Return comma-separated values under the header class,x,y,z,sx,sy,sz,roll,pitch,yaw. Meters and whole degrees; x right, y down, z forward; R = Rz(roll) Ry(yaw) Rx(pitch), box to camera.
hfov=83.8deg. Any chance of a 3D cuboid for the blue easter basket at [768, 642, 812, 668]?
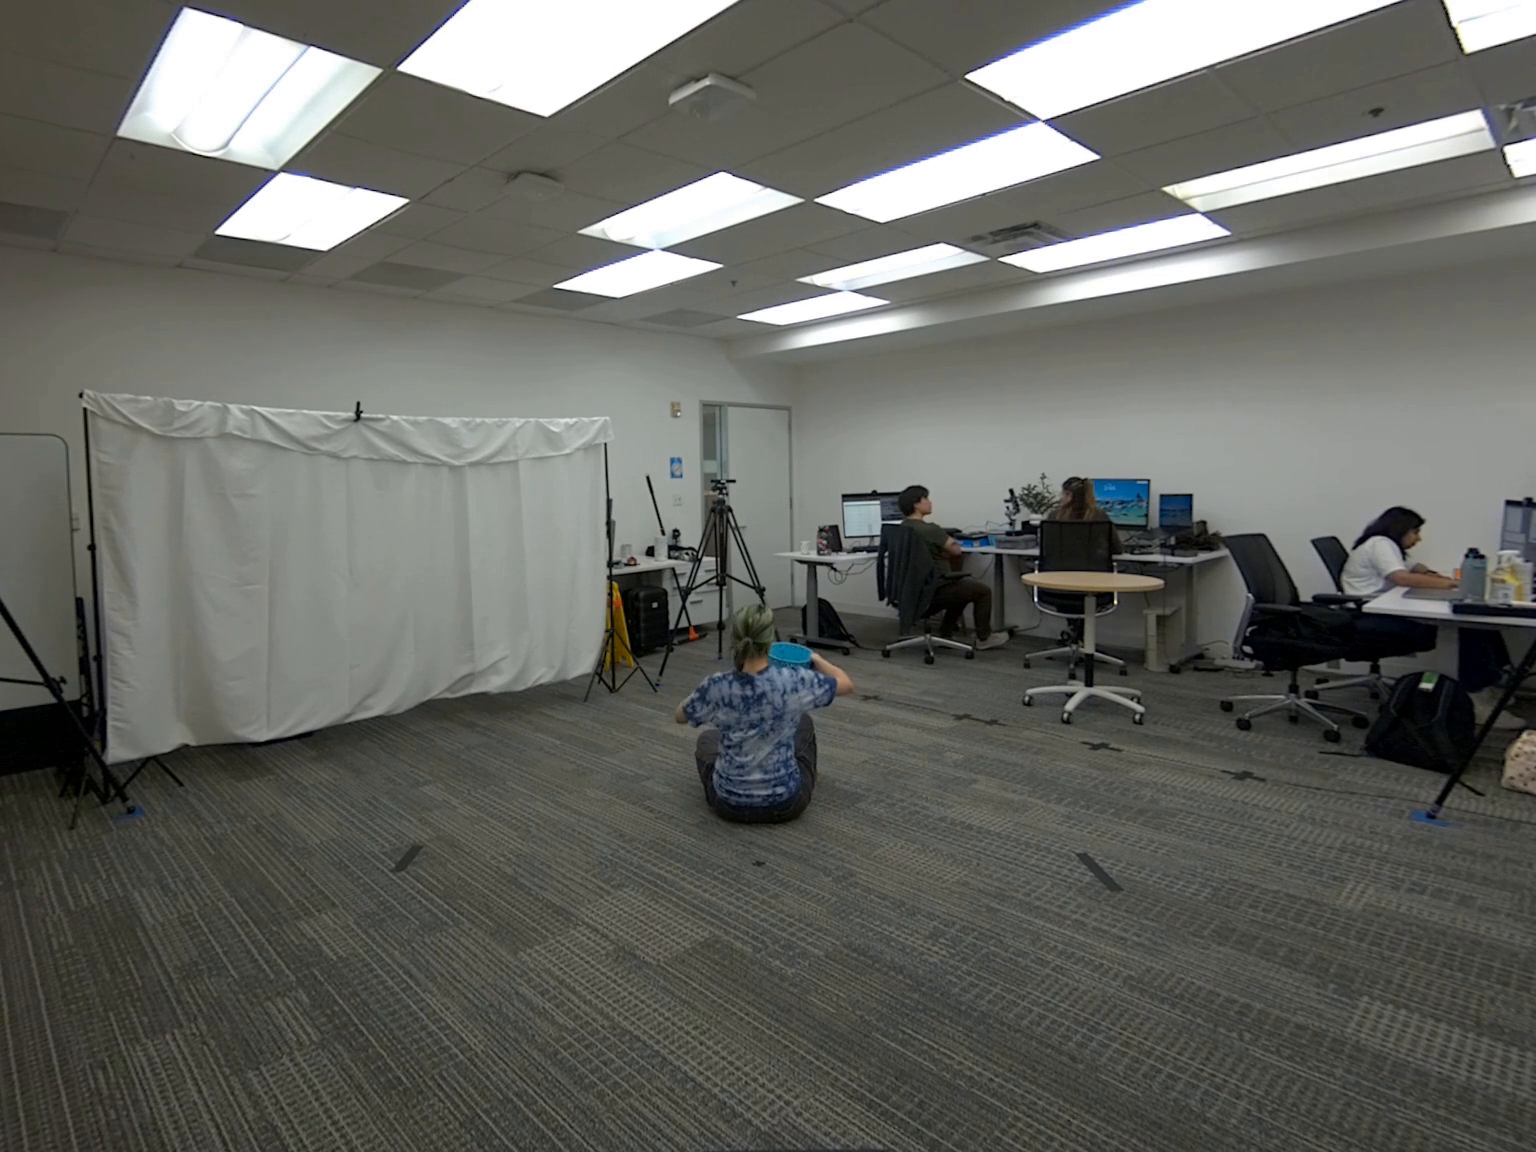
class,x,y,z,sx,sy,sz,roll,pitch,yaw
blue easter basket,0.104,0.420,3.940,0.243,0.154,0.246,7,11,-3
